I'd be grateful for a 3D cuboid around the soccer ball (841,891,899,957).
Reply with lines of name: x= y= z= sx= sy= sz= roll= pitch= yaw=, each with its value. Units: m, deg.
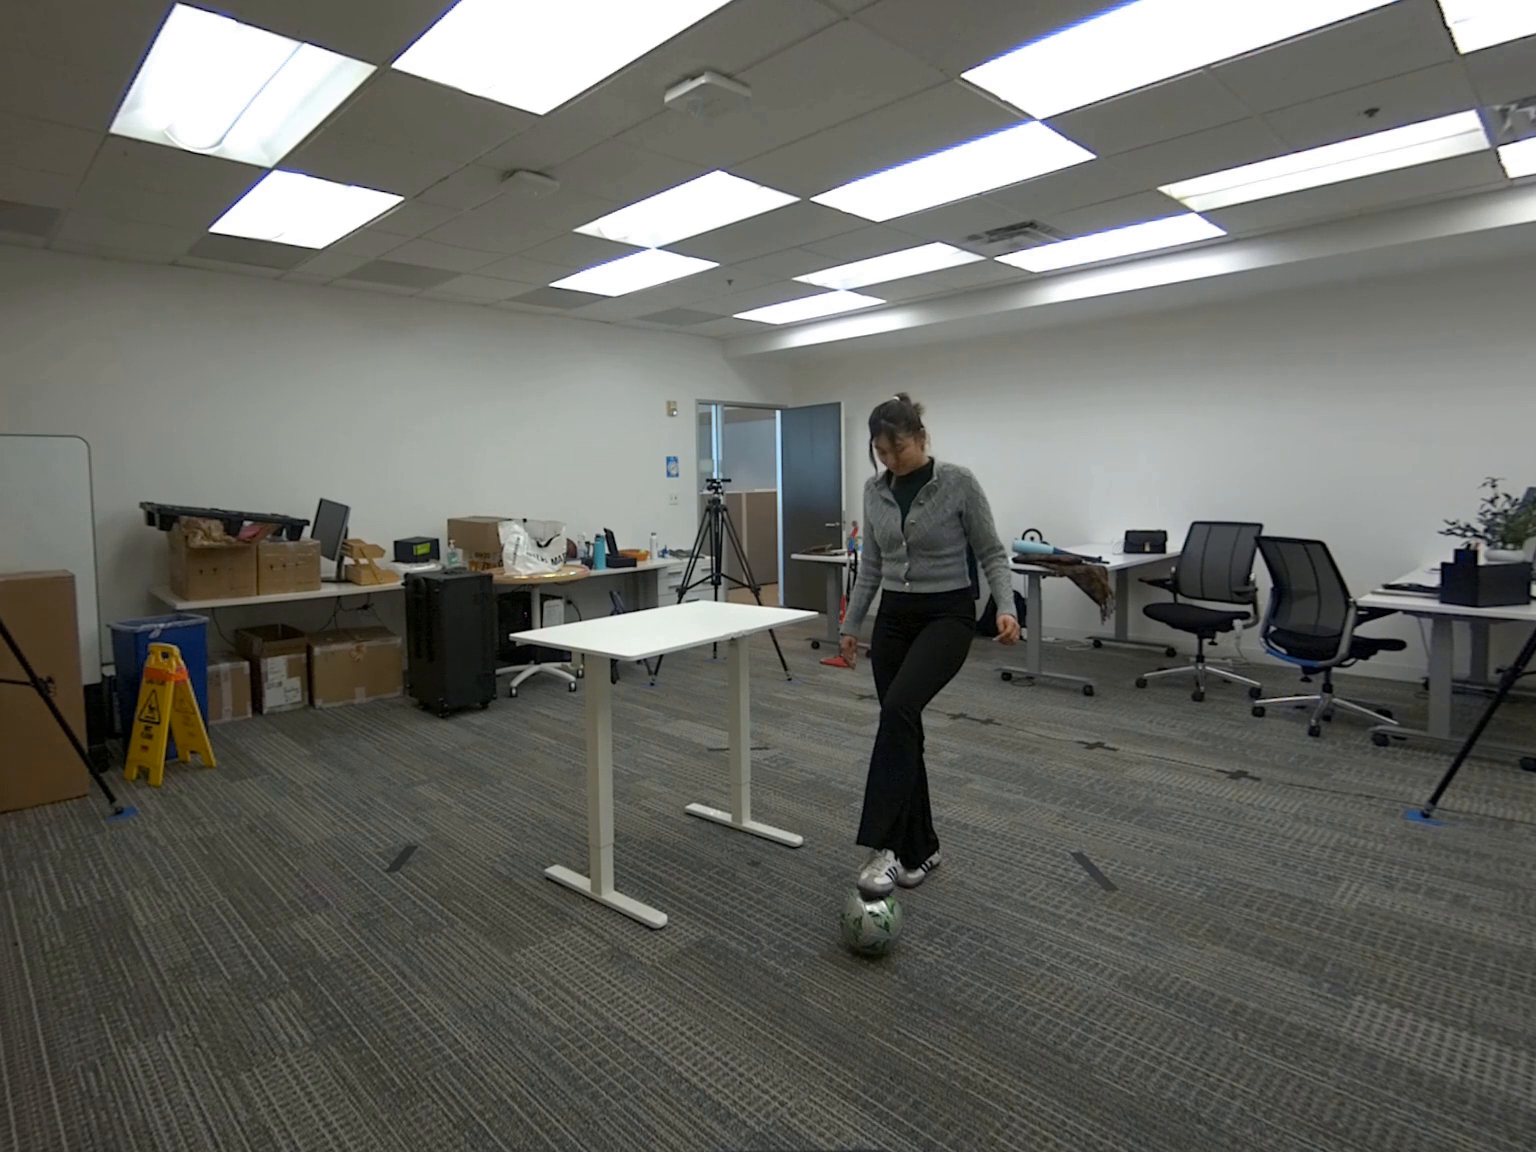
soccer ball: x=0.310 y=1.023 z=2.521 sx=0.187 sy=0.187 sz=0.188 roll=-1 pitch=5 yaw=-2
